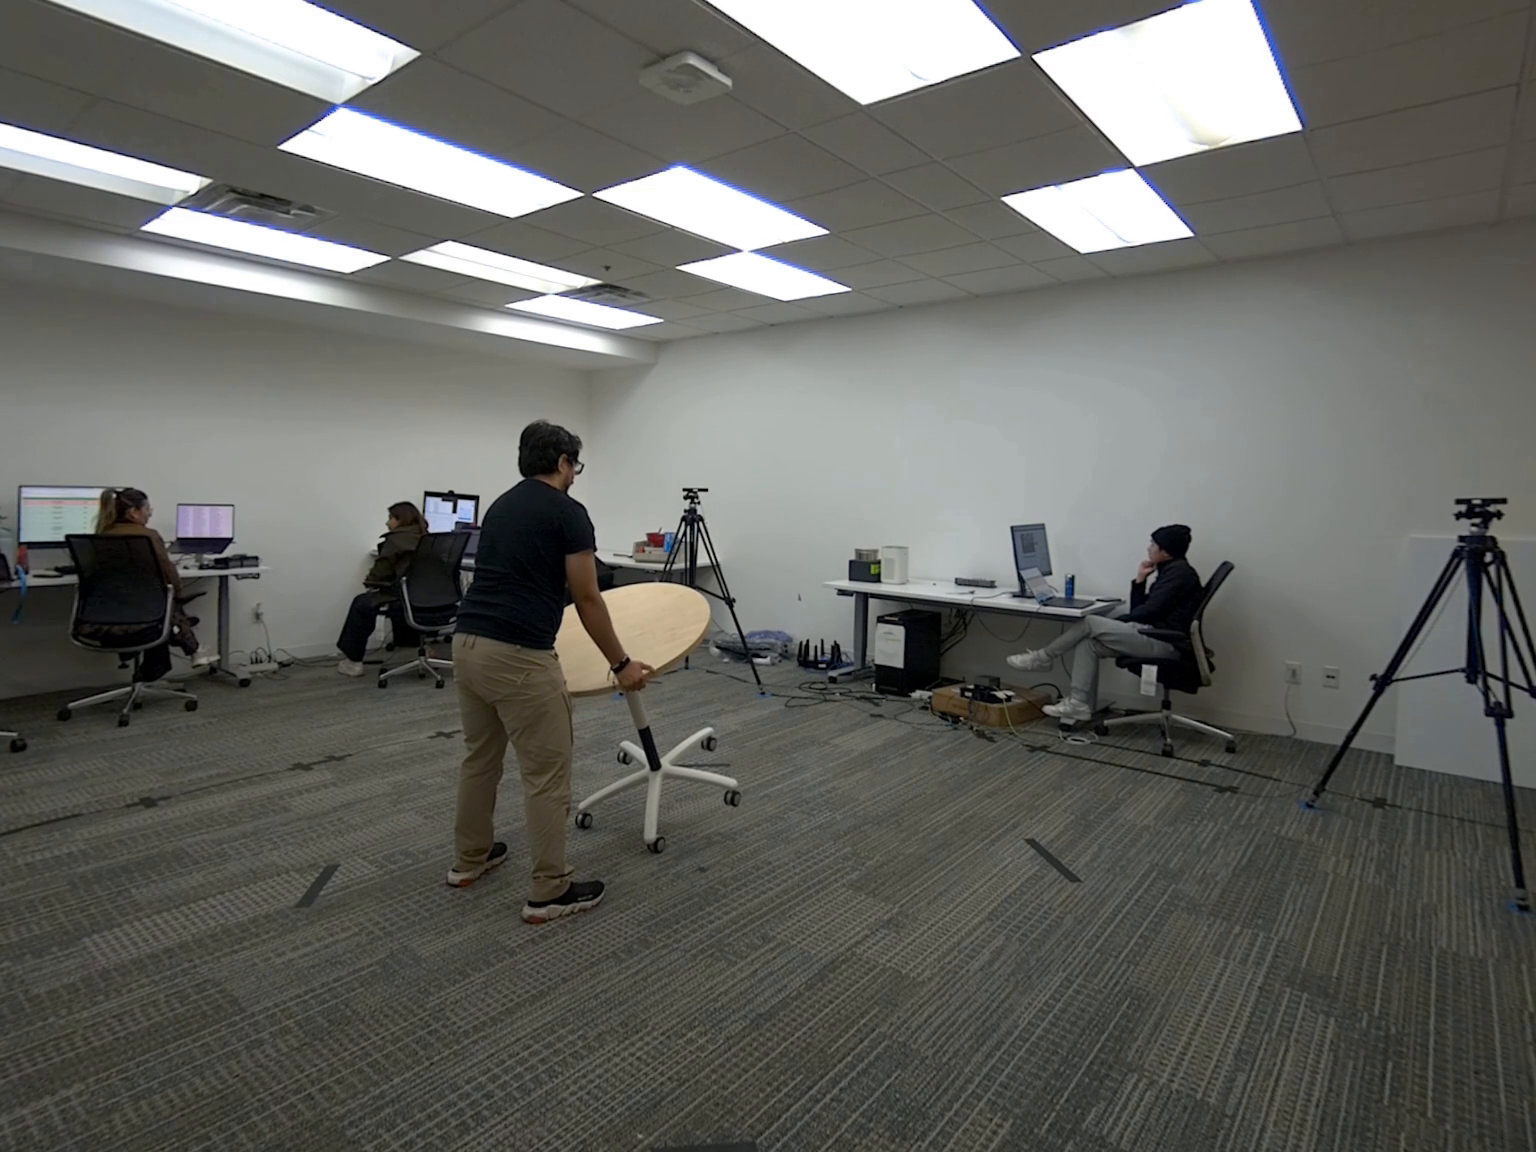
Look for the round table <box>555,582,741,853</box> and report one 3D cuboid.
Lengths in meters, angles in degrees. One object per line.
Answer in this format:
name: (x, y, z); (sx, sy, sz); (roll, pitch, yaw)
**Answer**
round table: (-0.528, 0.565, 3.393); (0.788, 0.767, 0.803); (-11, 24, 3)
